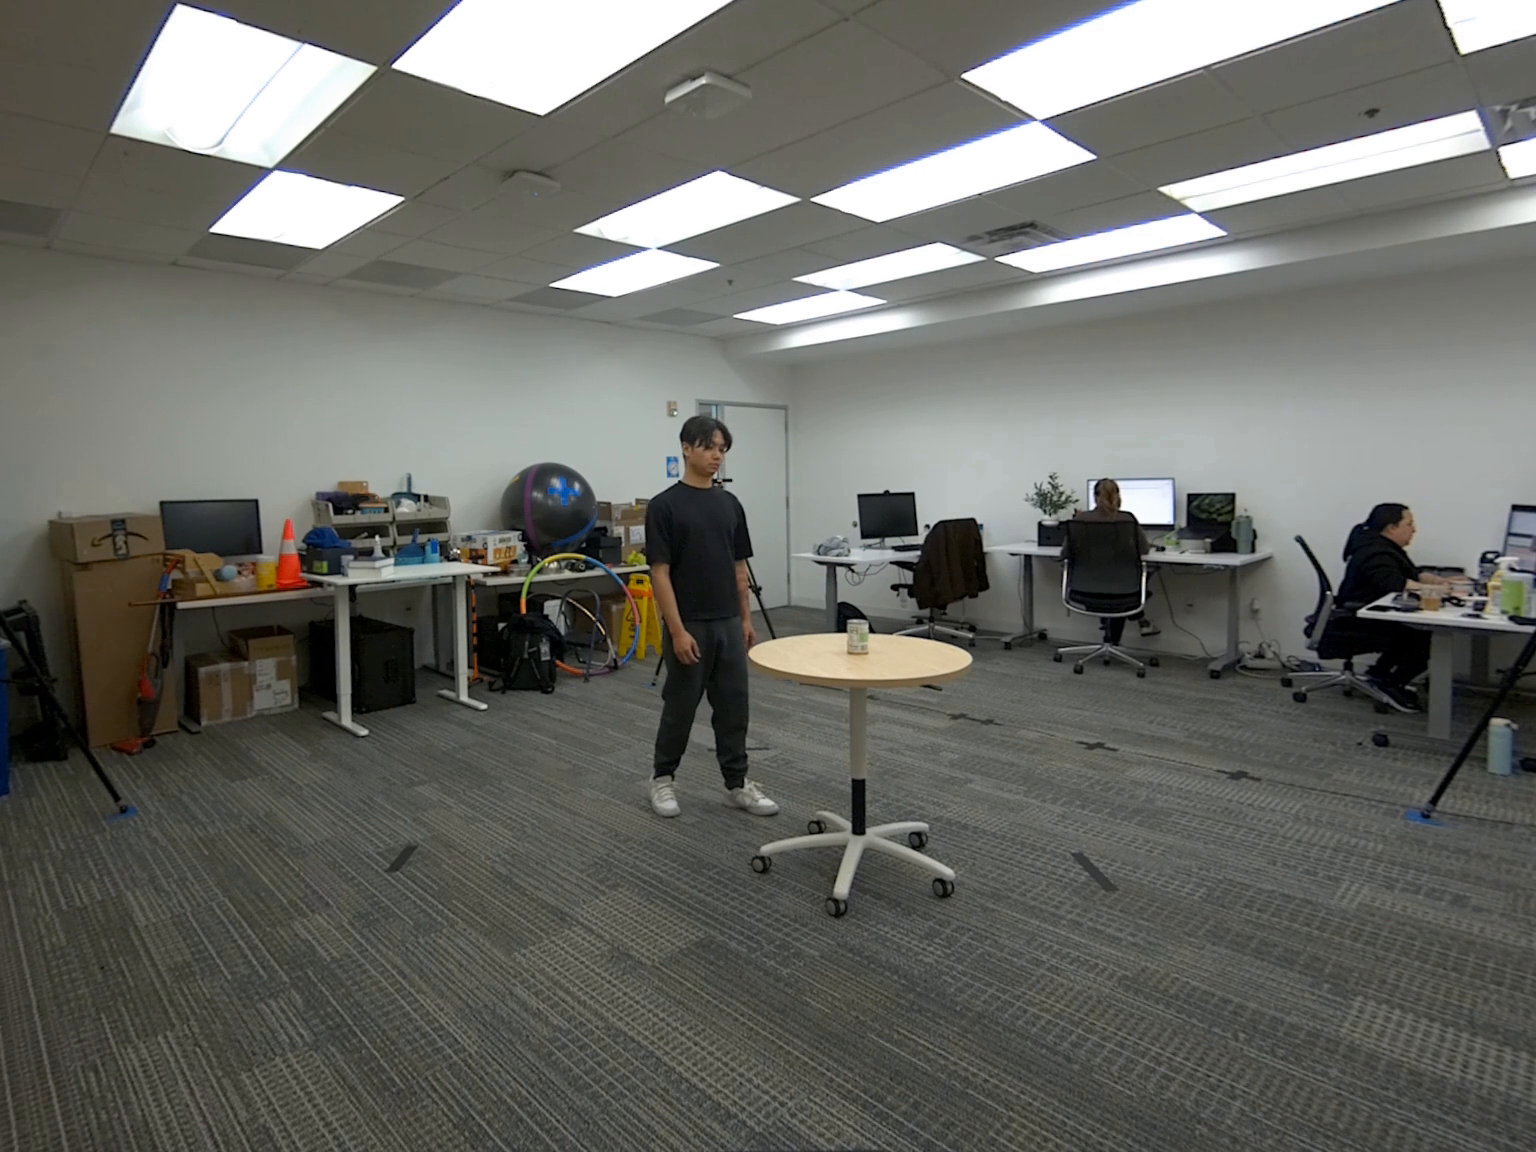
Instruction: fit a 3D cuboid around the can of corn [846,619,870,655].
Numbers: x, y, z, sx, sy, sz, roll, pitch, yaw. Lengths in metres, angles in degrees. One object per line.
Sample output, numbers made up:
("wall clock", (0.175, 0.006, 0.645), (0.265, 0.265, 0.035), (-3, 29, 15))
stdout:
("can of corn", (0.321, 0.214, 2.983), (0.074, 0.110, 0.074), (0, 5, -2))
